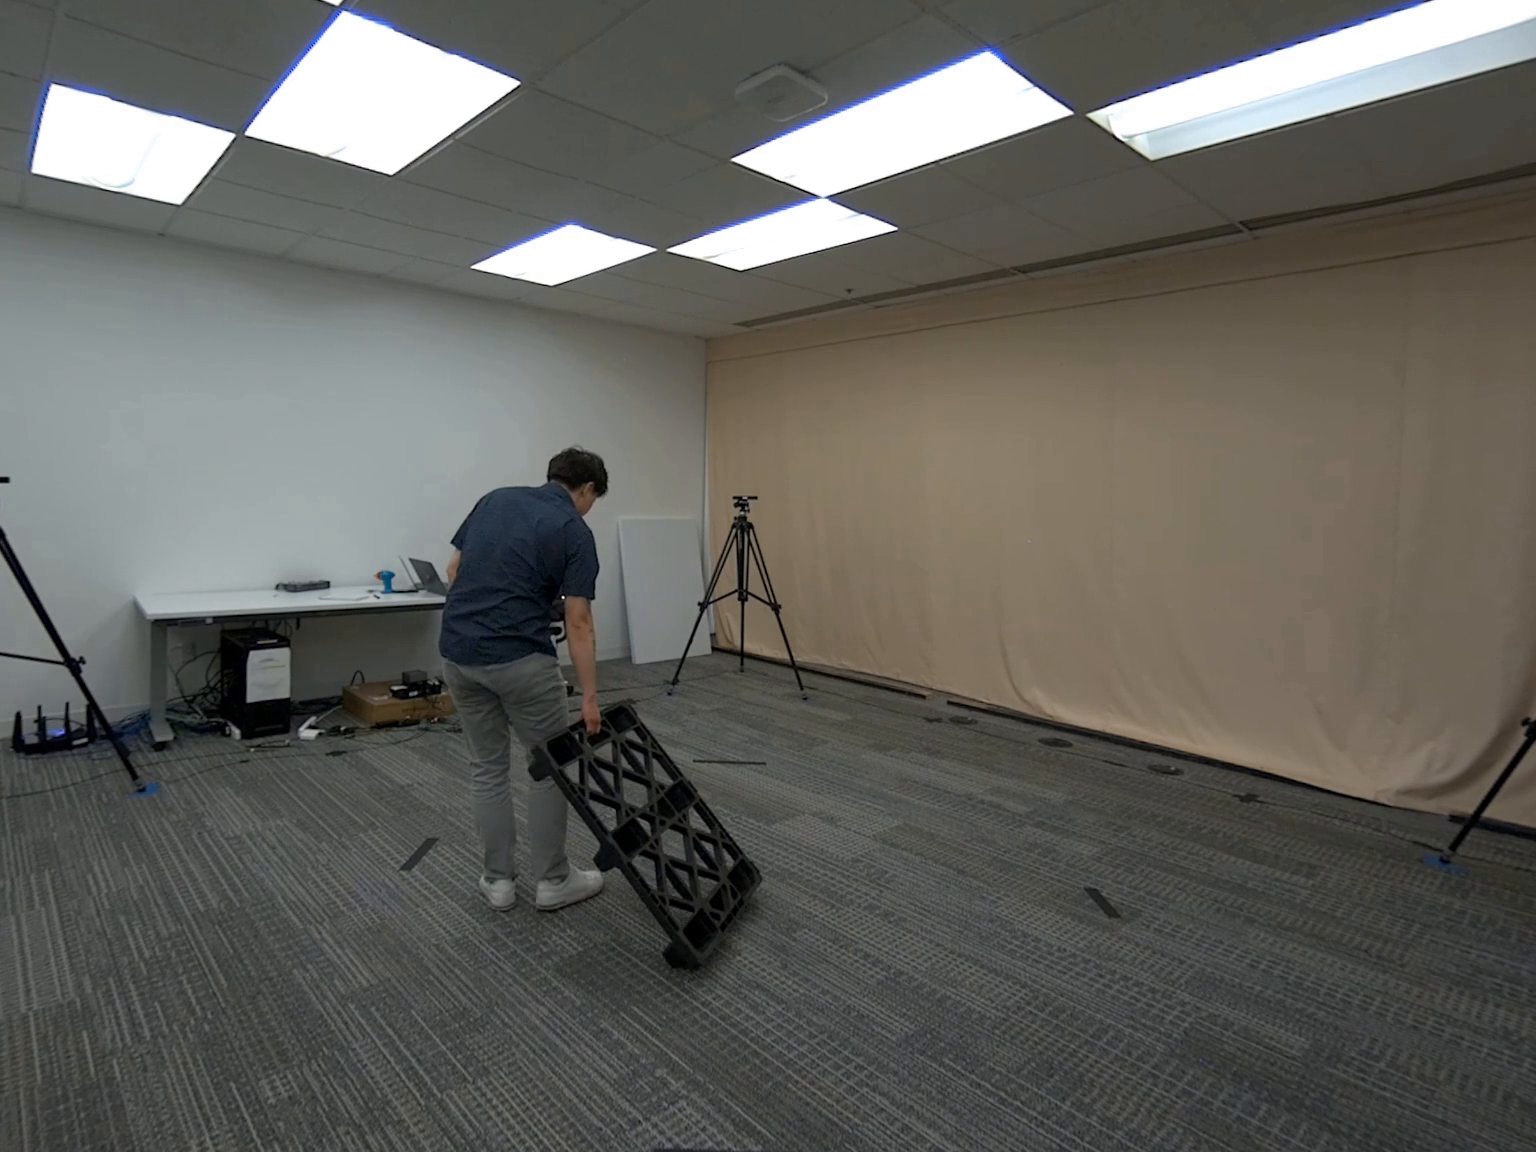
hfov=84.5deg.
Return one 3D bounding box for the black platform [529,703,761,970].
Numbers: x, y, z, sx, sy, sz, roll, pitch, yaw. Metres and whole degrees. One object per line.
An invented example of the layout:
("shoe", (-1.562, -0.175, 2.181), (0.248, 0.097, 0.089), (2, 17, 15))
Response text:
("black platform", (-0.403, 0.823, 2.746), (0.143, 0.814, 0.598), (-43, -10, 16))
